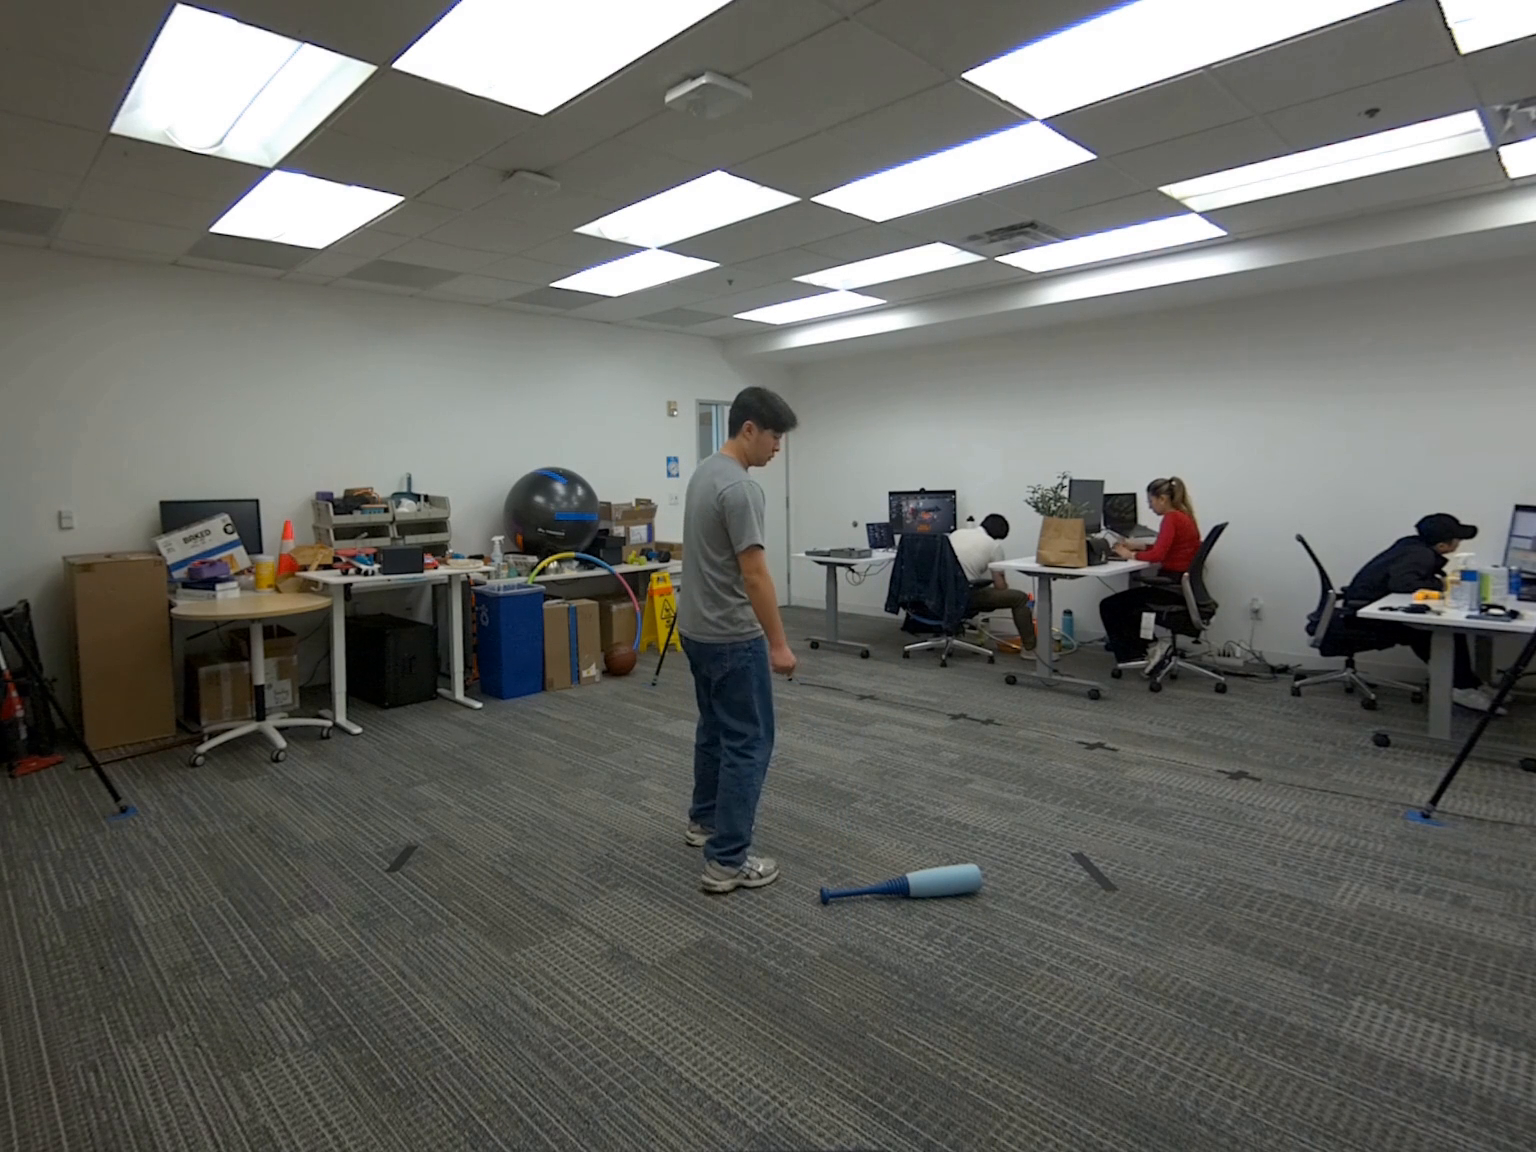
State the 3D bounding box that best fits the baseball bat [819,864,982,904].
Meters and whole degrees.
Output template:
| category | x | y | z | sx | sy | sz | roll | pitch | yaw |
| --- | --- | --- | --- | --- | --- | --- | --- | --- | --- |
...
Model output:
| category | x | y | z | sx | sy | sz | roll | pitch | yaw |
| --- | --- | --- | --- | --- | --- | --- | --- | --- | --- |
| baseball bat | 0.443 | 1.030 | 2.833 | 0.541 | 0.089 | 0.090 | -5 | 5 | -4 |
